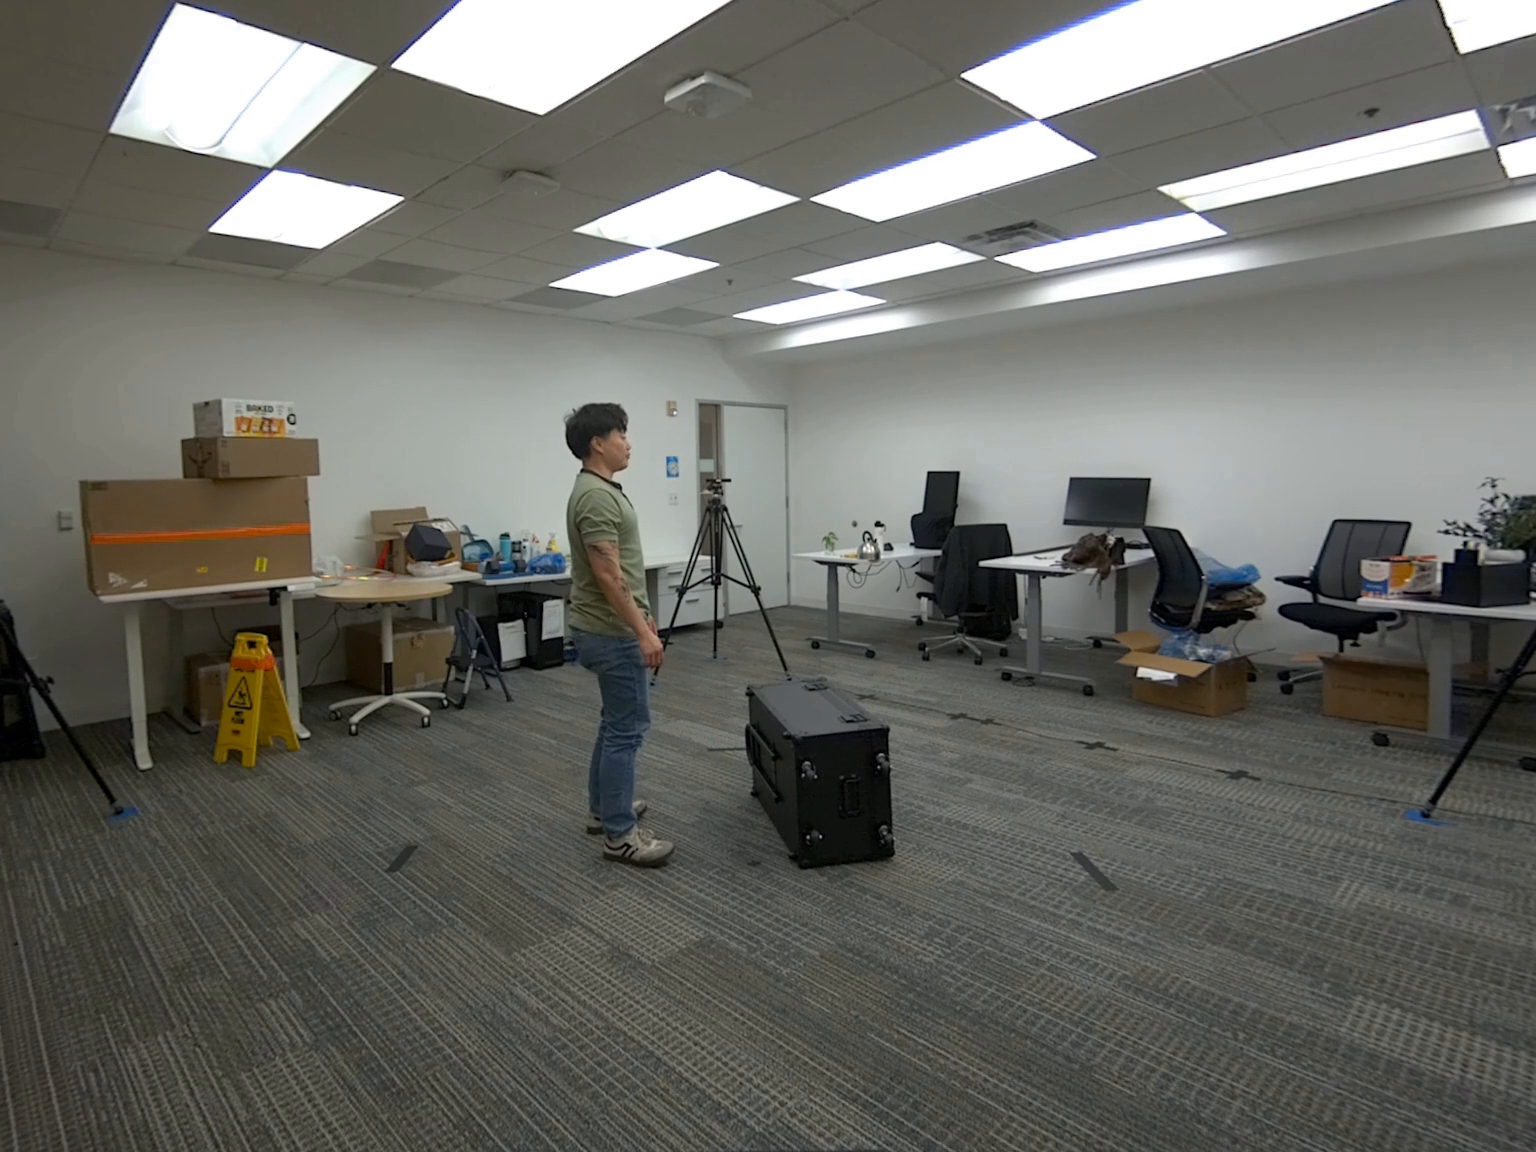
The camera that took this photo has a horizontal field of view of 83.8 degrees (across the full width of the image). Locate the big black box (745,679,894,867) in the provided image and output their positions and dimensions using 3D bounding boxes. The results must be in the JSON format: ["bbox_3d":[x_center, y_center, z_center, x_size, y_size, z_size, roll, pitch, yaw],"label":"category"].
[{"bbox_3d":[0.177,0.749,3.407,0.392,0.519,0.875,-4,6,-13],"label":"big black box"}]
